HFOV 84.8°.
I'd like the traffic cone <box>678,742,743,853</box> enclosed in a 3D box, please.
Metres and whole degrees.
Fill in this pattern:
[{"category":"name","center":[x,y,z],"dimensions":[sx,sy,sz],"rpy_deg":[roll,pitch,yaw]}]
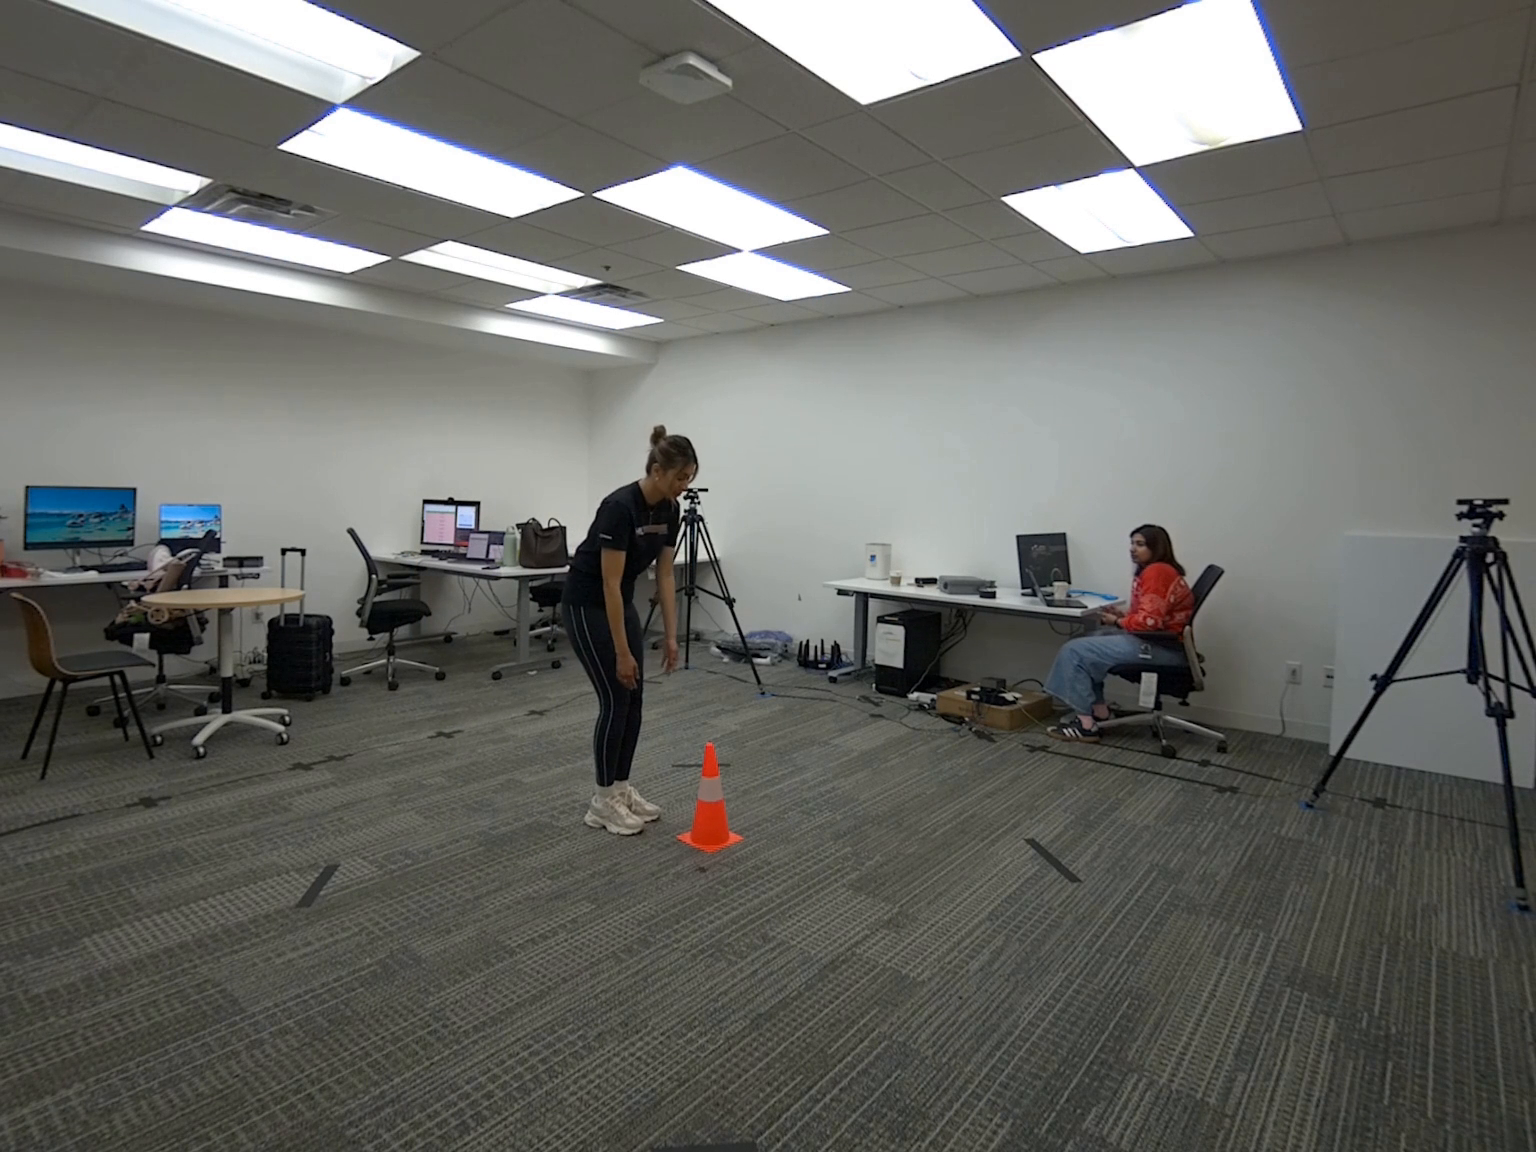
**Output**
[{"category":"traffic cone","center":[-0.235,0.860,3.386],"dimensions":[0.210,0.382,0.199],"rpy_deg":[4,4,36]}]
